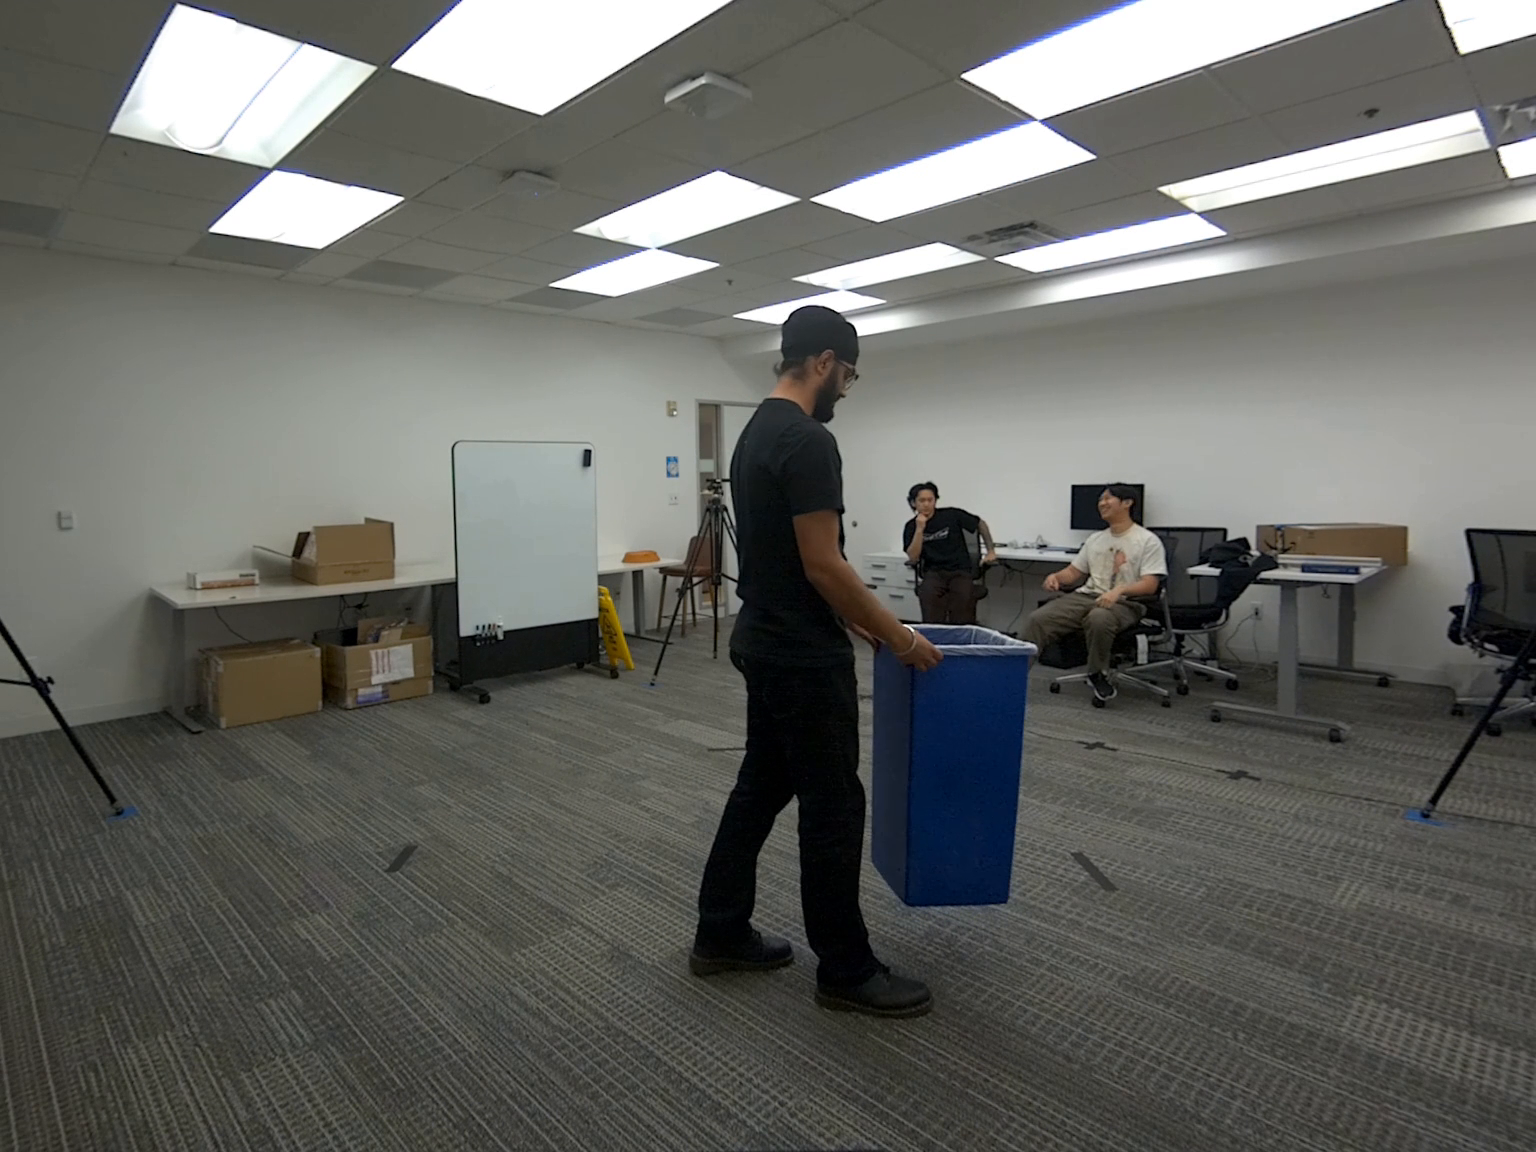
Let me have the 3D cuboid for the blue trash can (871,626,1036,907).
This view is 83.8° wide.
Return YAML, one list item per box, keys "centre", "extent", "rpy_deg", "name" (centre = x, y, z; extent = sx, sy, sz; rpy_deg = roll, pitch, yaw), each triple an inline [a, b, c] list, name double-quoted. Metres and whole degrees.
- centre: [0.501, 0.528, 2.436]
  extent: [0.370, 0.712, 0.383]
  rpy_deg: [2, 3, -12]
  name: "blue trash can"
